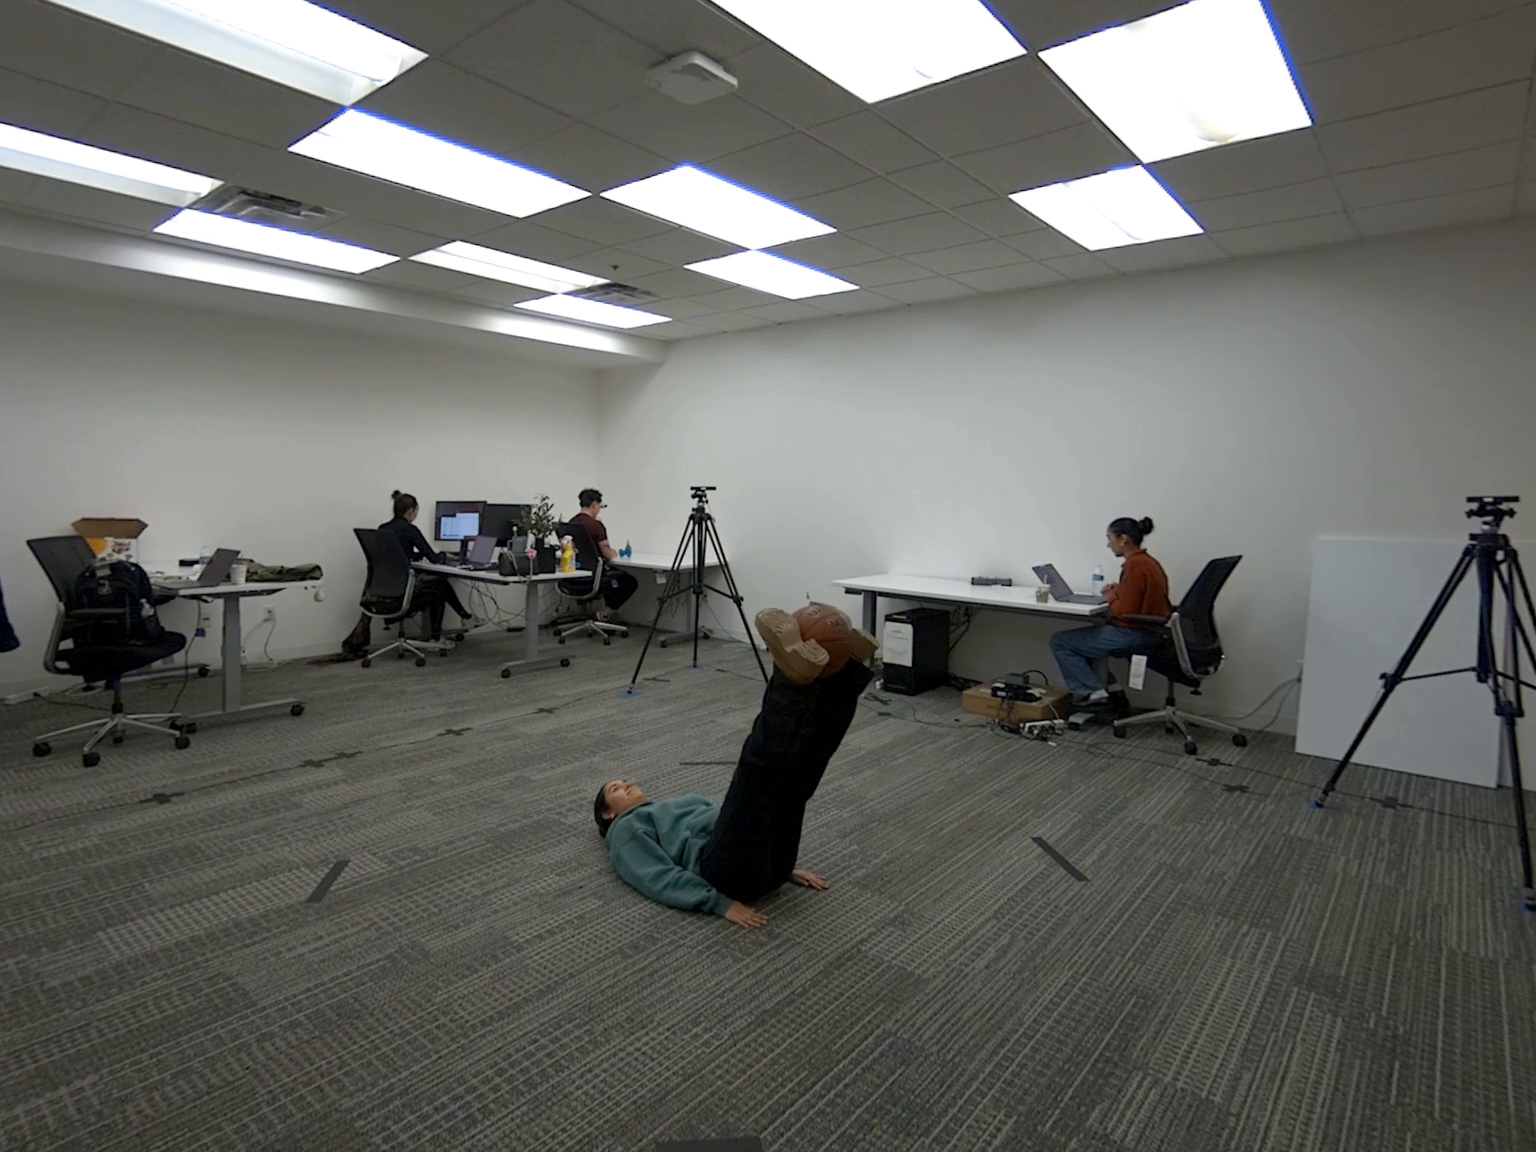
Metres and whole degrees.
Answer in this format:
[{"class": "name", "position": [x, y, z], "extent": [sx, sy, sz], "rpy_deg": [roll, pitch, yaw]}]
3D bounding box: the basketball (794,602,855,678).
[{"class": "basketball", "position": [0.154, 0.214, 2.749], "extent": [0.236, 0.235, 0.237], "rpy_deg": [0, 4, -2]}]
